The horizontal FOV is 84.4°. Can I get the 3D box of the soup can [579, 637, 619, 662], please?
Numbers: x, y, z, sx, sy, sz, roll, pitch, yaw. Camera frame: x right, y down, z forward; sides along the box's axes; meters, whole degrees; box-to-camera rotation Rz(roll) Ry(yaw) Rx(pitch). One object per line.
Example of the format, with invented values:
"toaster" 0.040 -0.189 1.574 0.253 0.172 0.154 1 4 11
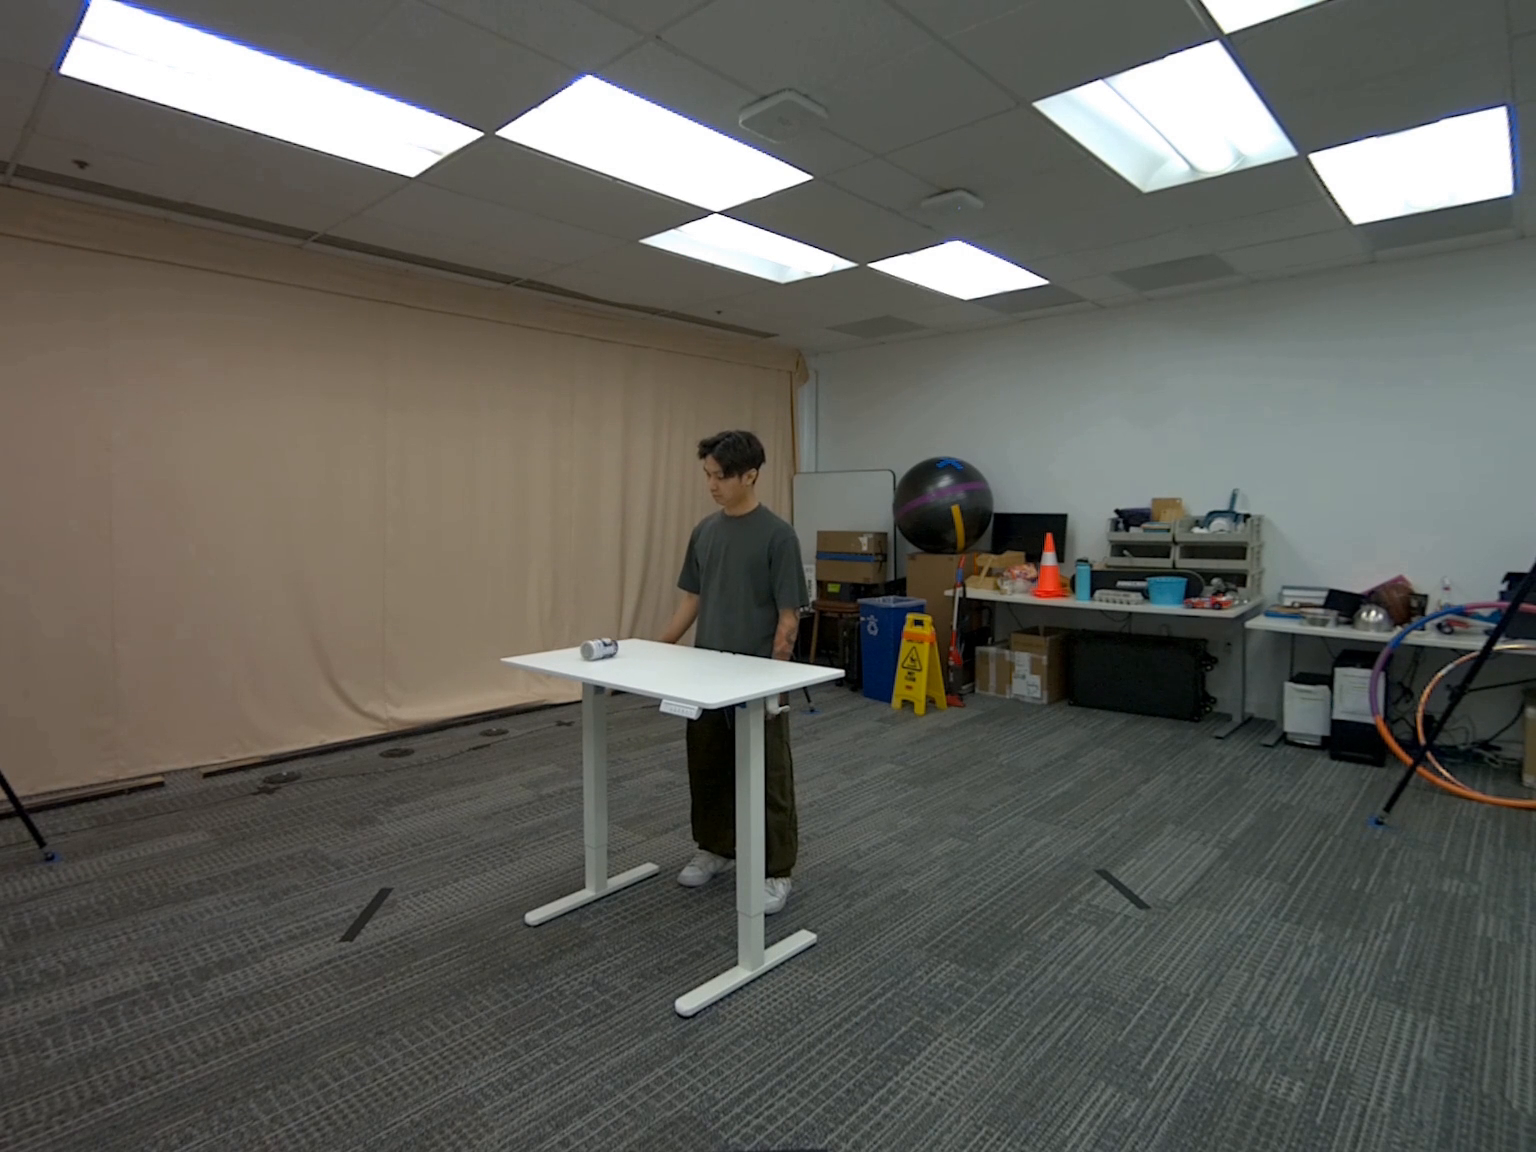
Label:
"soup can" -0.550 0.249 2.830 0.069 0.067 0.119 2 5 23
